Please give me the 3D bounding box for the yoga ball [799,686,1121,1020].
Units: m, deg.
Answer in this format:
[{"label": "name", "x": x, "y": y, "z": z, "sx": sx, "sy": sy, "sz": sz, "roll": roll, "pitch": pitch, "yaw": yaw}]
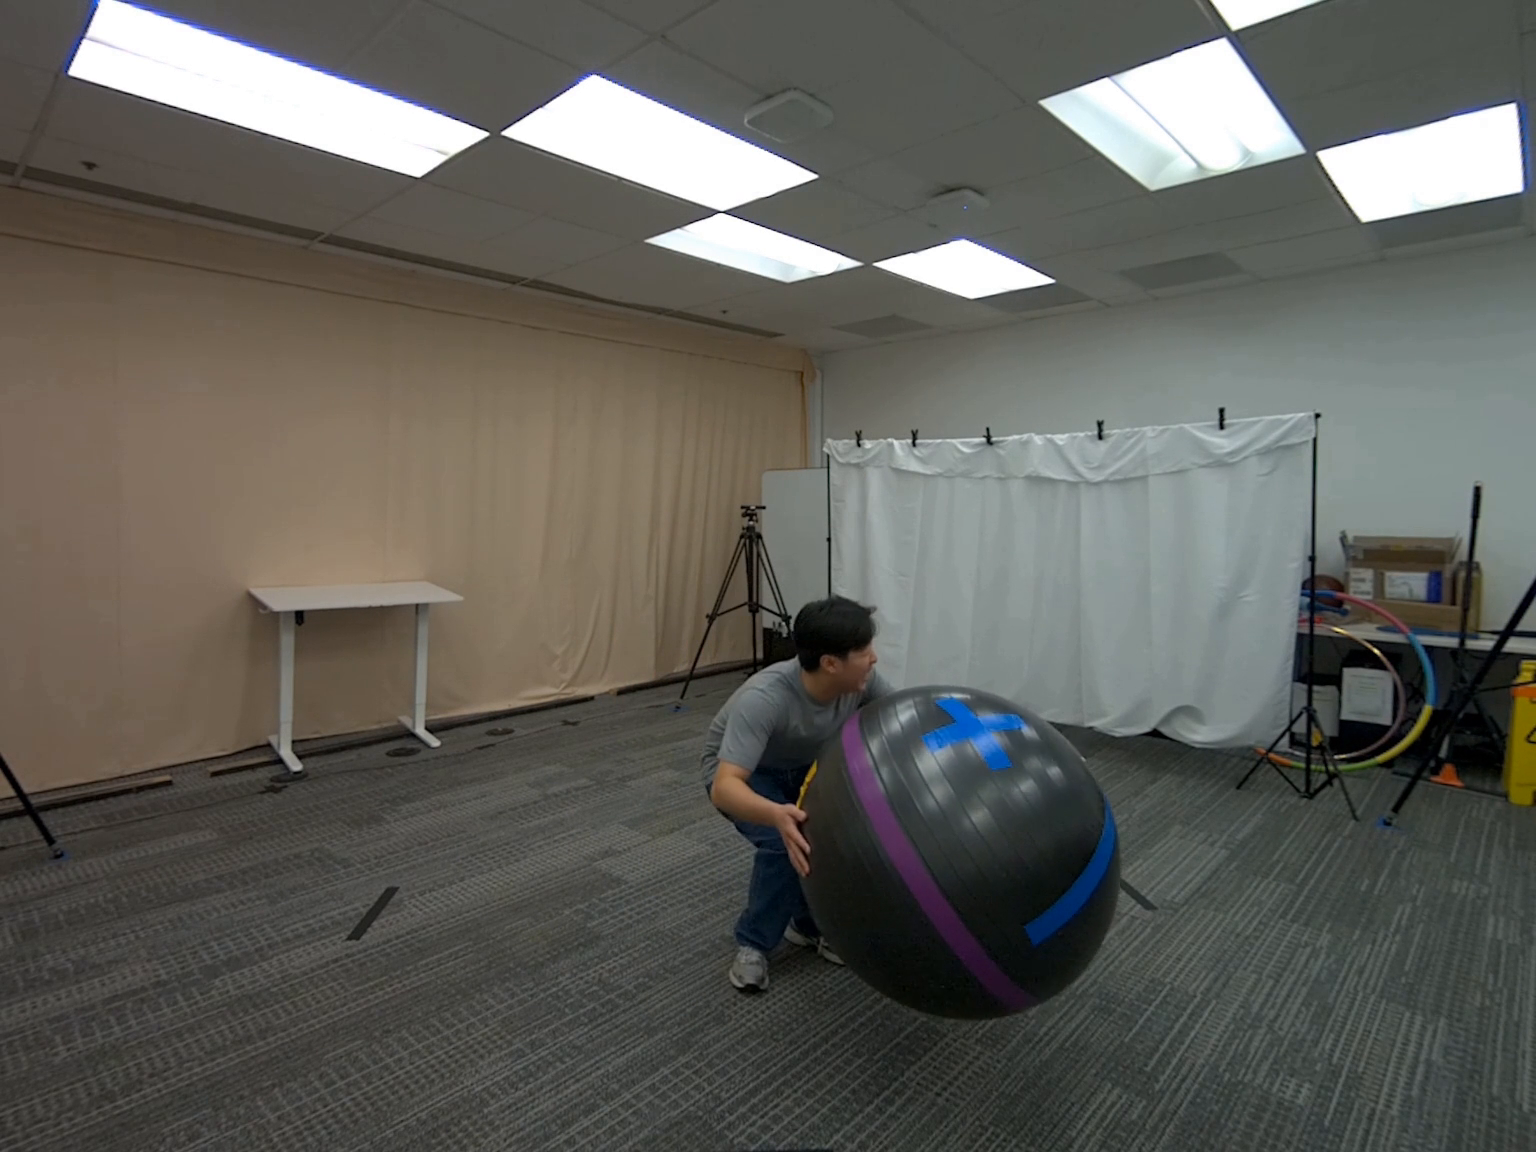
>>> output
[{"label": "yoga ball", "x": 0.457, "y": 0.668, "z": 2.053, "sx": 0.757, "sy": 0.756, "sz": 0.761, "roll": 0, "pitch": 4, "yaw": -2}]
